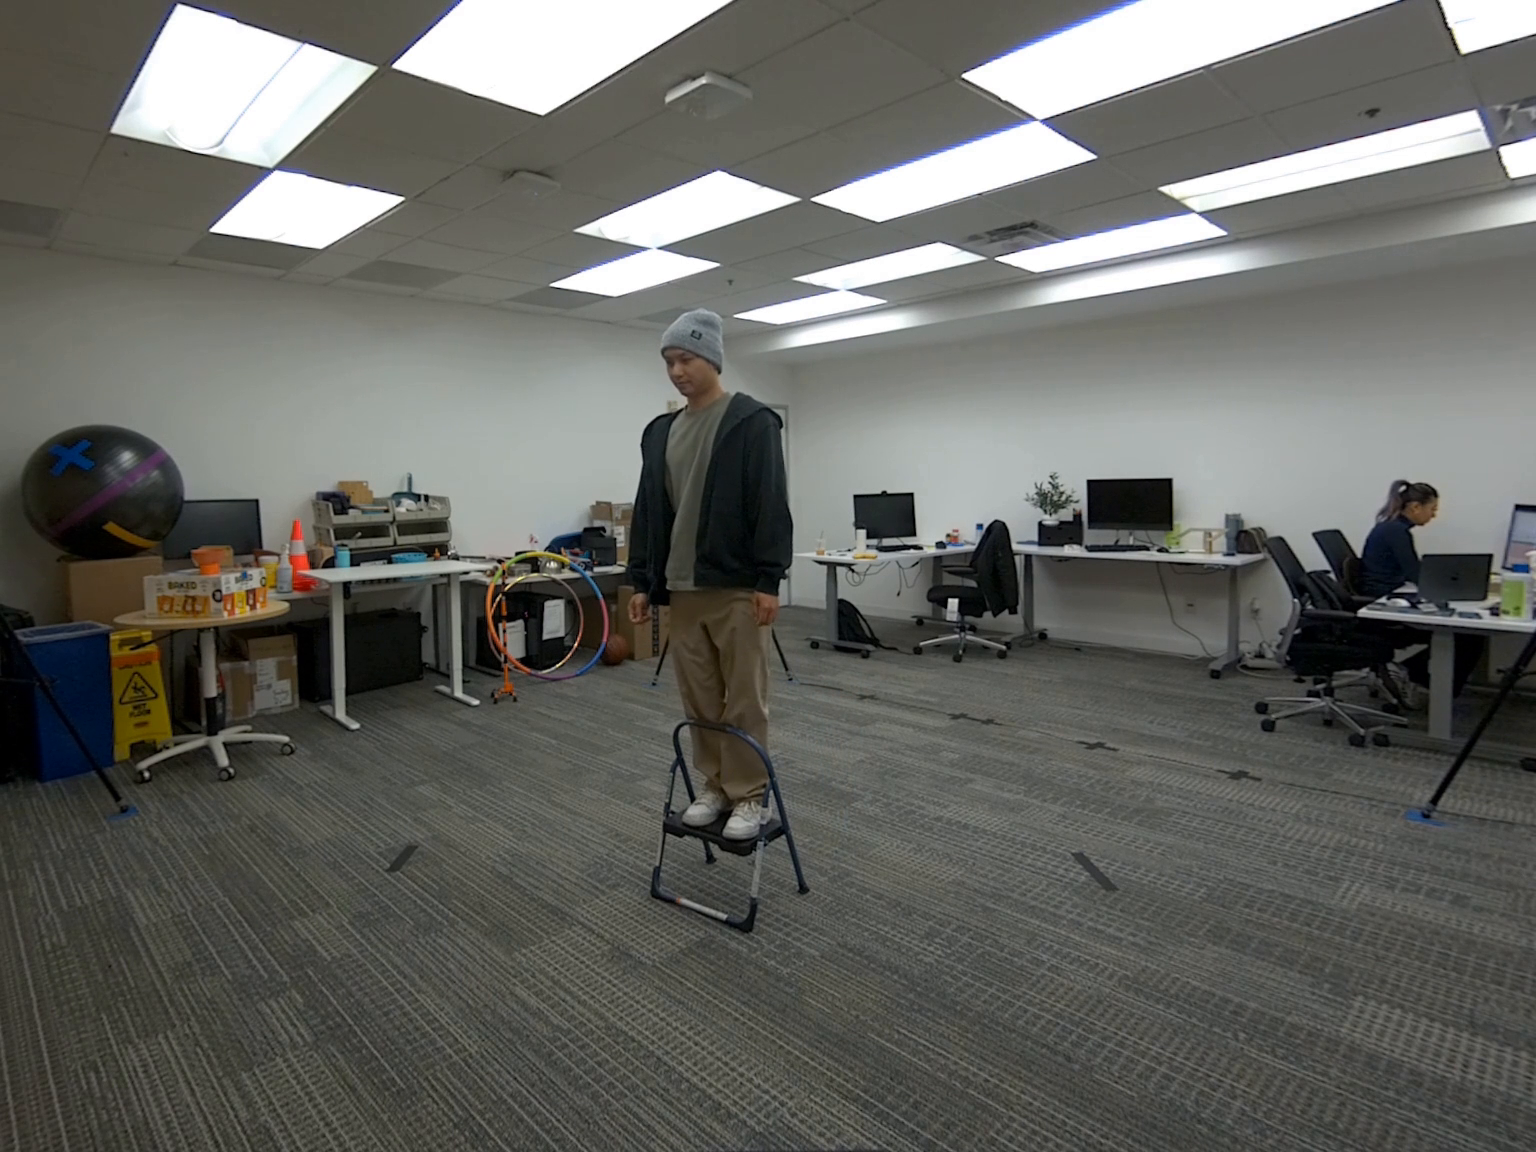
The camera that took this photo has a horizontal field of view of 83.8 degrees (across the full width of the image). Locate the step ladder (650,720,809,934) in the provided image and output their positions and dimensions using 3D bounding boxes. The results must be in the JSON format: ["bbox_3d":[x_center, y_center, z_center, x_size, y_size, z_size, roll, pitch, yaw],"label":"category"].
[{"bbox_3d":[-0.137,0.771,2.865,0.443,0.603,0.341,2,6,35],"label":"step ladder"}]
